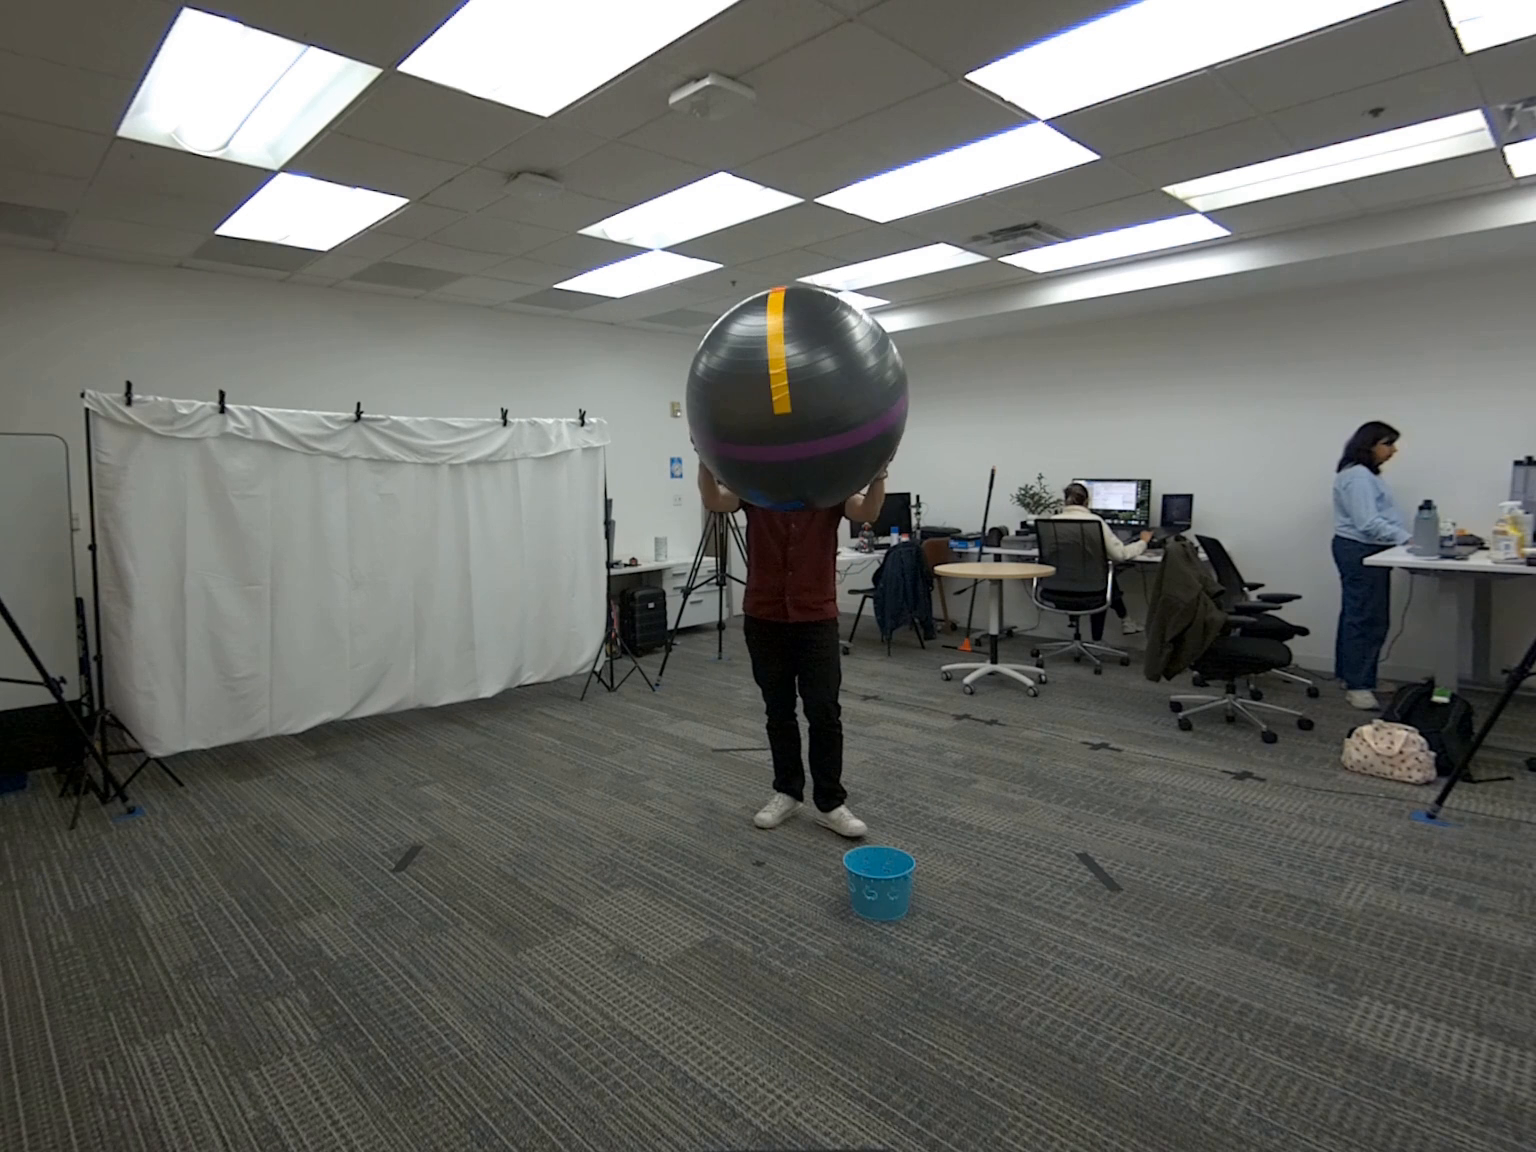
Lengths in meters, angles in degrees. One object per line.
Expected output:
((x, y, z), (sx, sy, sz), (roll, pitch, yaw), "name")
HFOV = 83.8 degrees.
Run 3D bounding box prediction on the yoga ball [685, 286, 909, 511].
((0.101, -0.595, 2.926), (0.757, 0.755, 0.762), (-1, 5, -2), "yoga ball")
